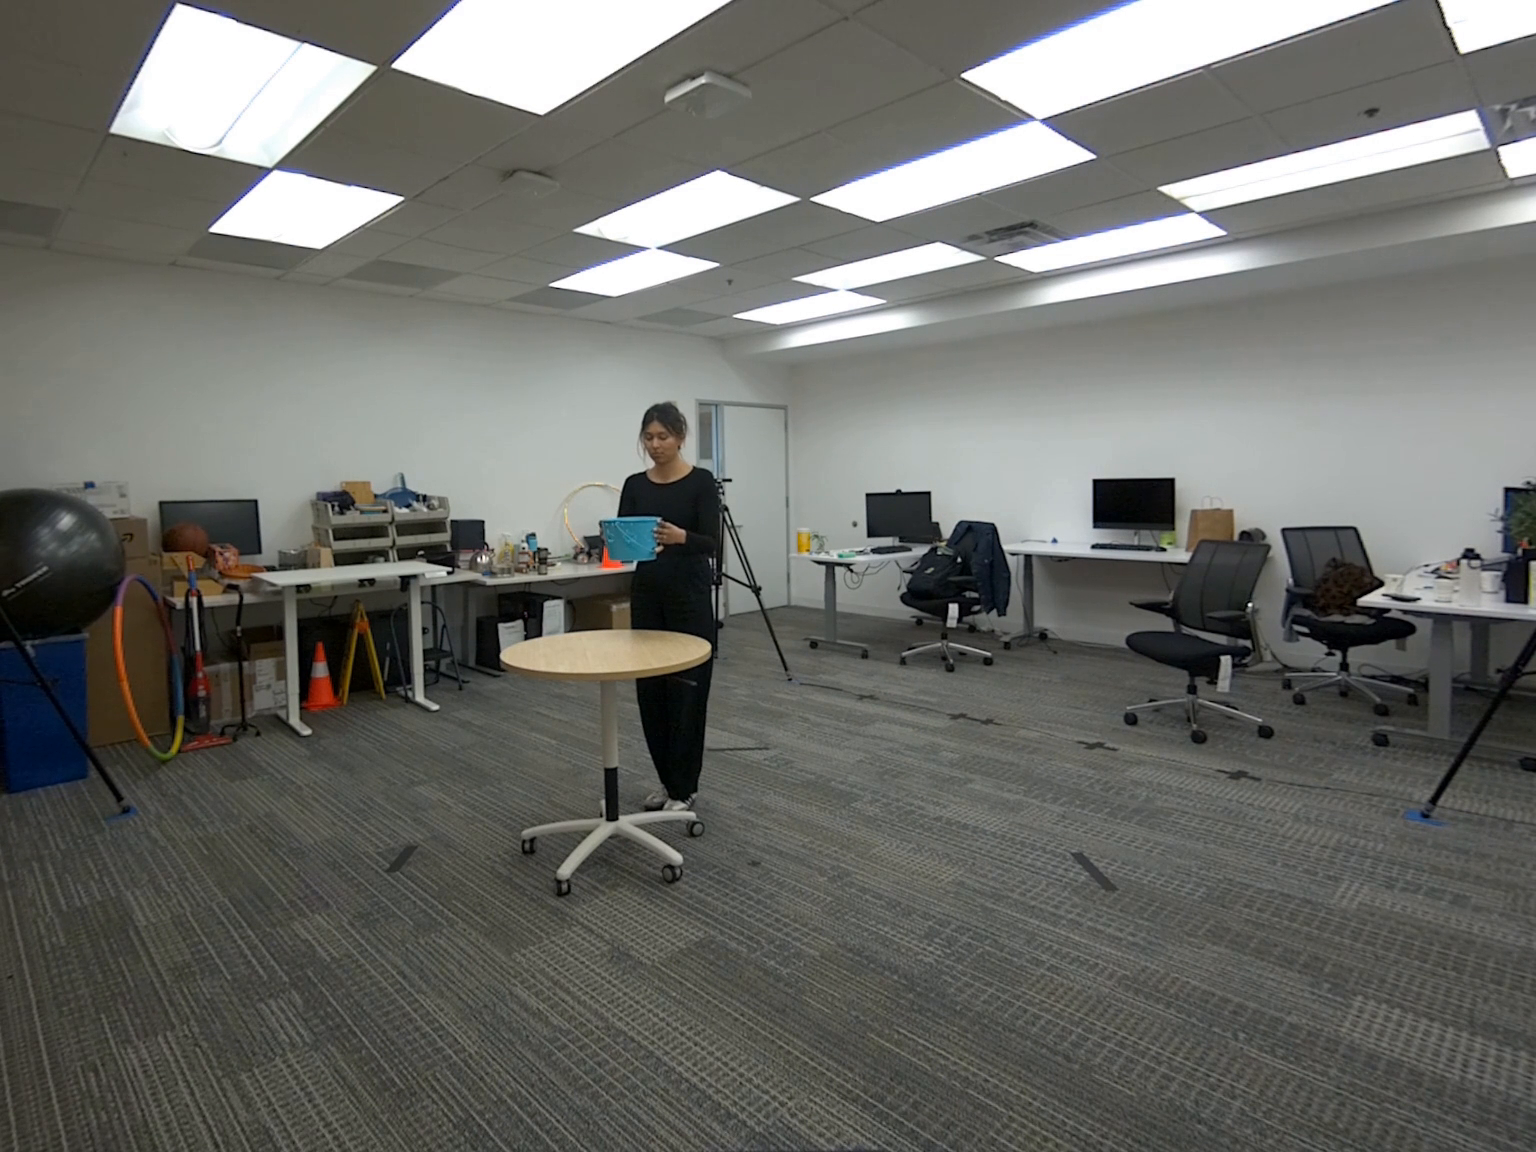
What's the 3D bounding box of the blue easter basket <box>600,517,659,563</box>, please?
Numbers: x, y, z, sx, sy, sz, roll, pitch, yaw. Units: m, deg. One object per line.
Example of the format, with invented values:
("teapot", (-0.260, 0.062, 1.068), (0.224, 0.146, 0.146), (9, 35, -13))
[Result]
("blue easter basket", (-0.515, -0.138, 3.233), (0.243, 0.155, 0.245), (-2, 5, -1))
